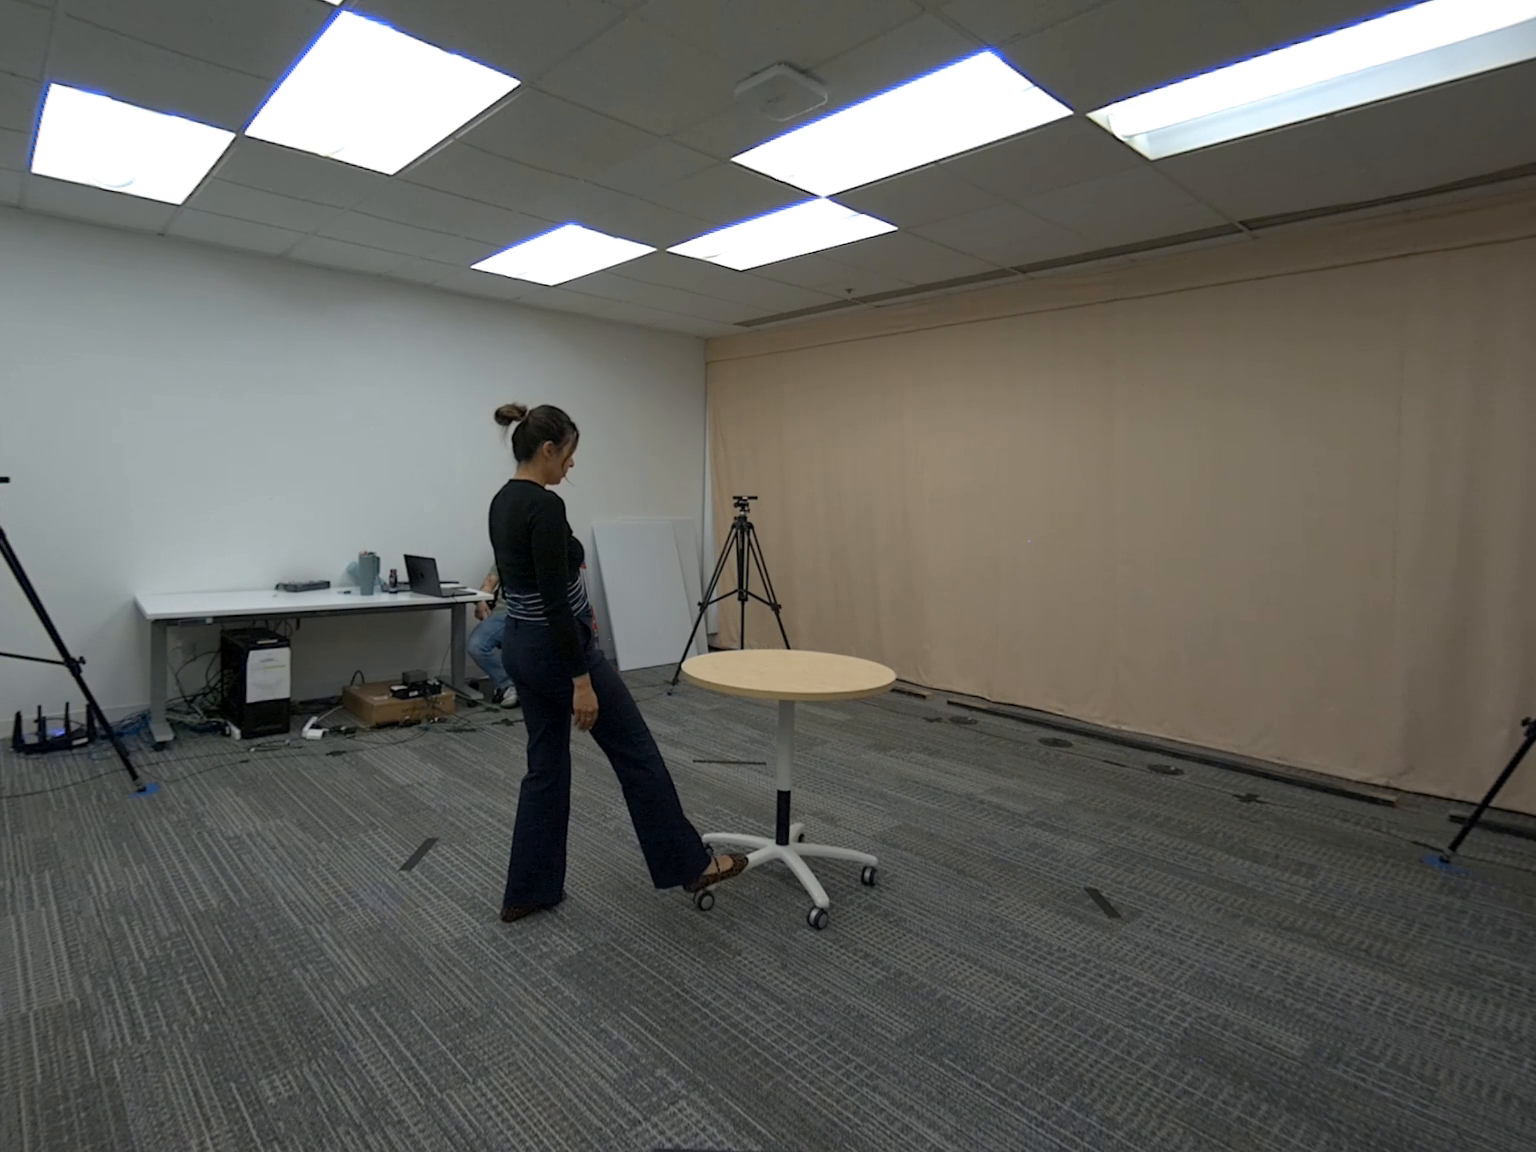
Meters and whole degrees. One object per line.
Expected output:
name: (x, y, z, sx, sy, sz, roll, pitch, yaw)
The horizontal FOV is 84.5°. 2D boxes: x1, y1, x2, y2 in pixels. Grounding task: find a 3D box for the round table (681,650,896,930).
round table: (0.046, 0.726, 3.037, 0.763, 0.792, 0.766, 2, 3, -1)
